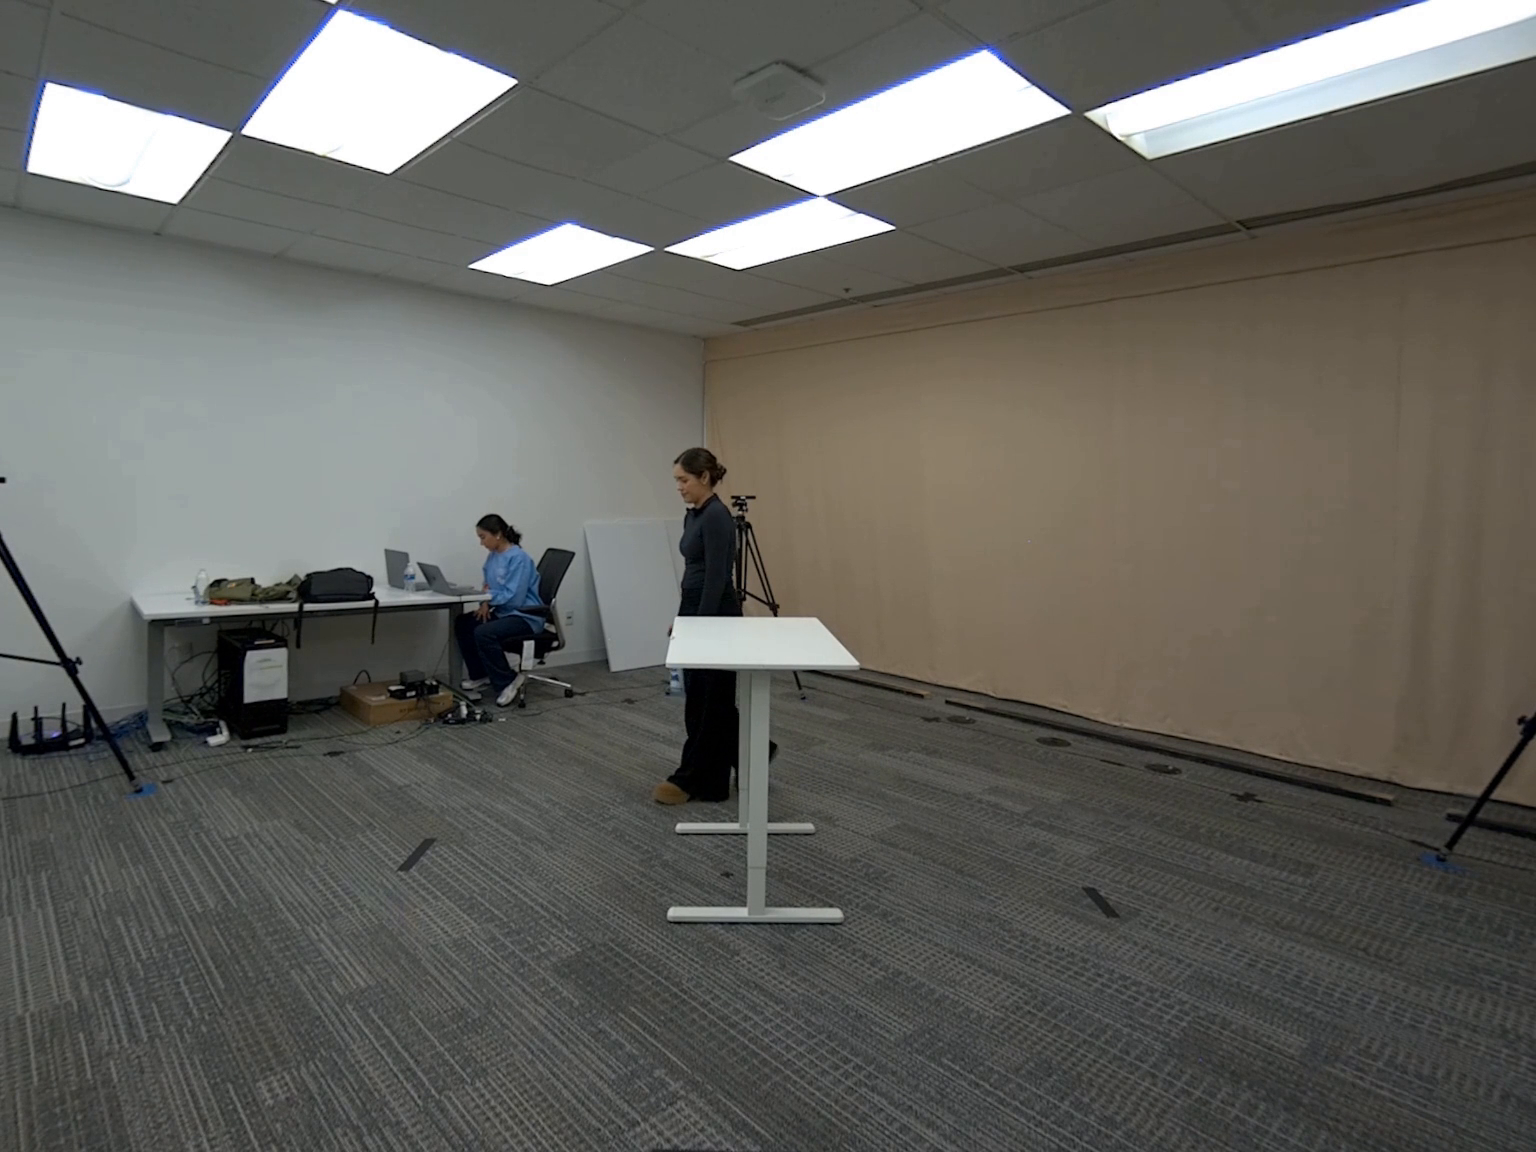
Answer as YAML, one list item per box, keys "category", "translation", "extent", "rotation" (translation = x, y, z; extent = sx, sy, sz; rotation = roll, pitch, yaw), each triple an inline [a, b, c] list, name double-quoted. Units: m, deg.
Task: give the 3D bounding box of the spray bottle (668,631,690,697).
- category: "spray bottle"
  translation: [-0.432, 0.422, 4.101]
  extent: [0.090, 0.296, 0.087]
  rotation: [0, 5, 2]
